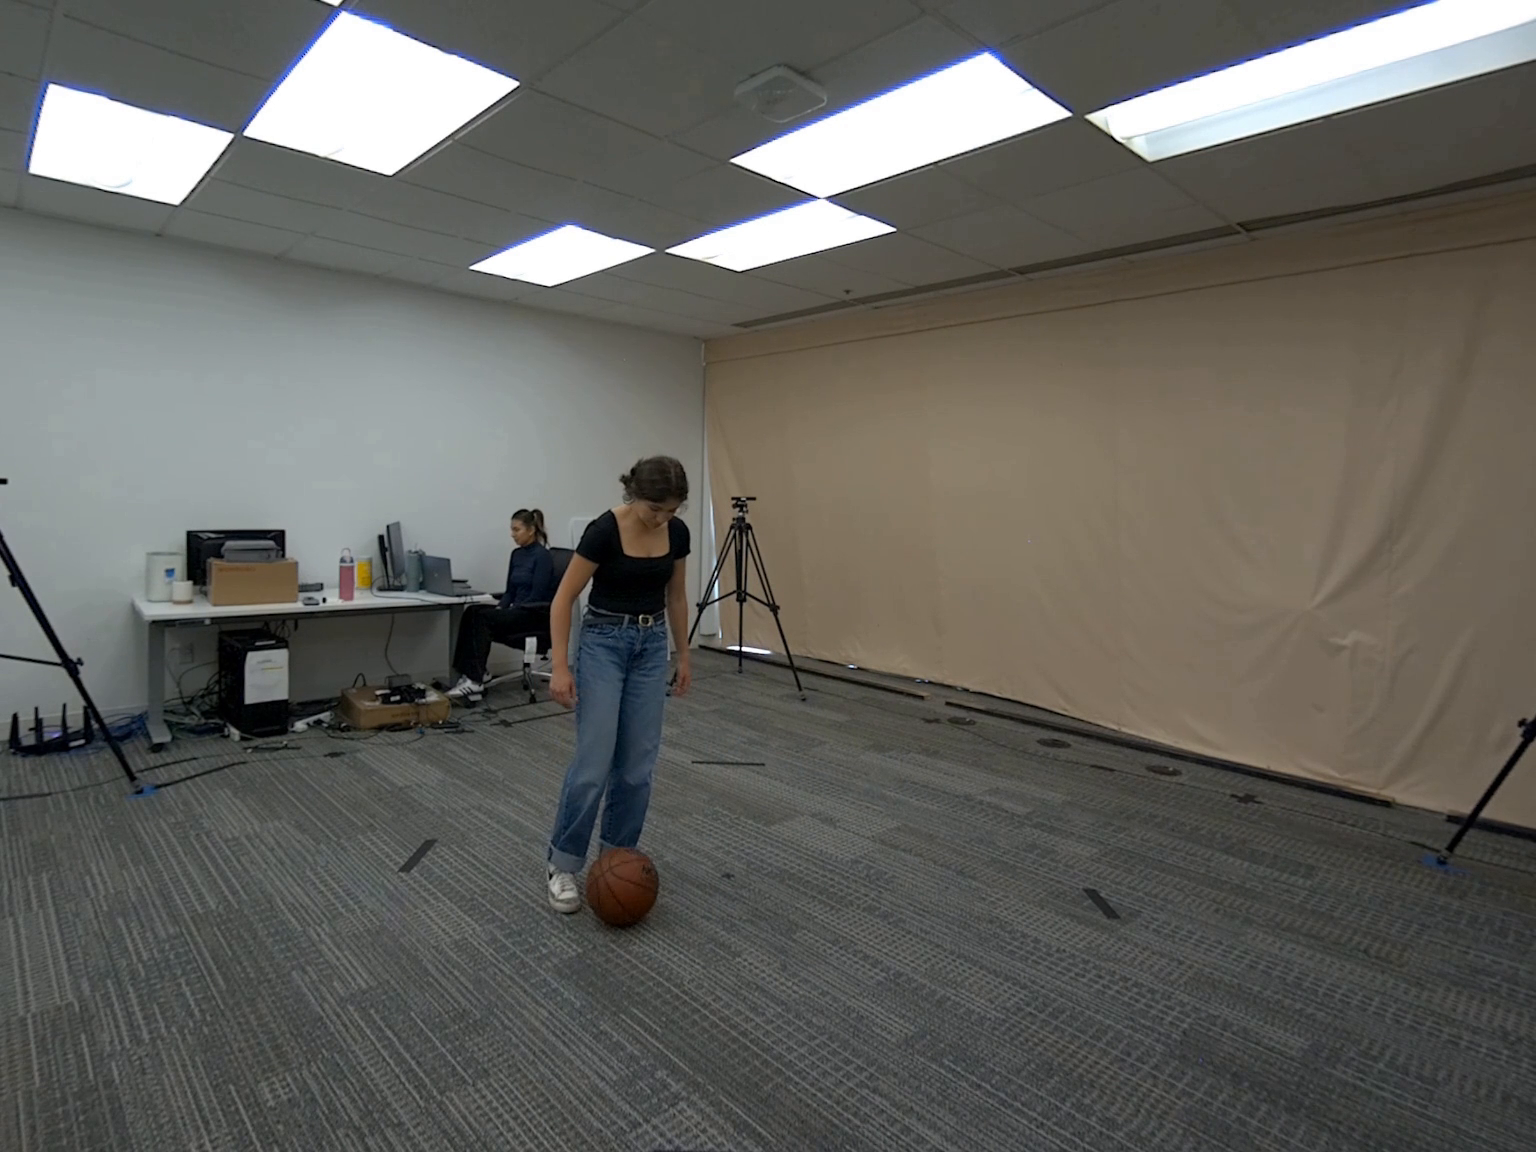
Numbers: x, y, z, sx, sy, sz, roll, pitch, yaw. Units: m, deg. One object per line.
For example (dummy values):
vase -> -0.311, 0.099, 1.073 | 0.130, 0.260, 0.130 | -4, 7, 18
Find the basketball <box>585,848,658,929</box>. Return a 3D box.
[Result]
basketball -> -0.481, 1.009, 2.748 | 0.236, 0.235, 0.237 | 1, 4, -1
